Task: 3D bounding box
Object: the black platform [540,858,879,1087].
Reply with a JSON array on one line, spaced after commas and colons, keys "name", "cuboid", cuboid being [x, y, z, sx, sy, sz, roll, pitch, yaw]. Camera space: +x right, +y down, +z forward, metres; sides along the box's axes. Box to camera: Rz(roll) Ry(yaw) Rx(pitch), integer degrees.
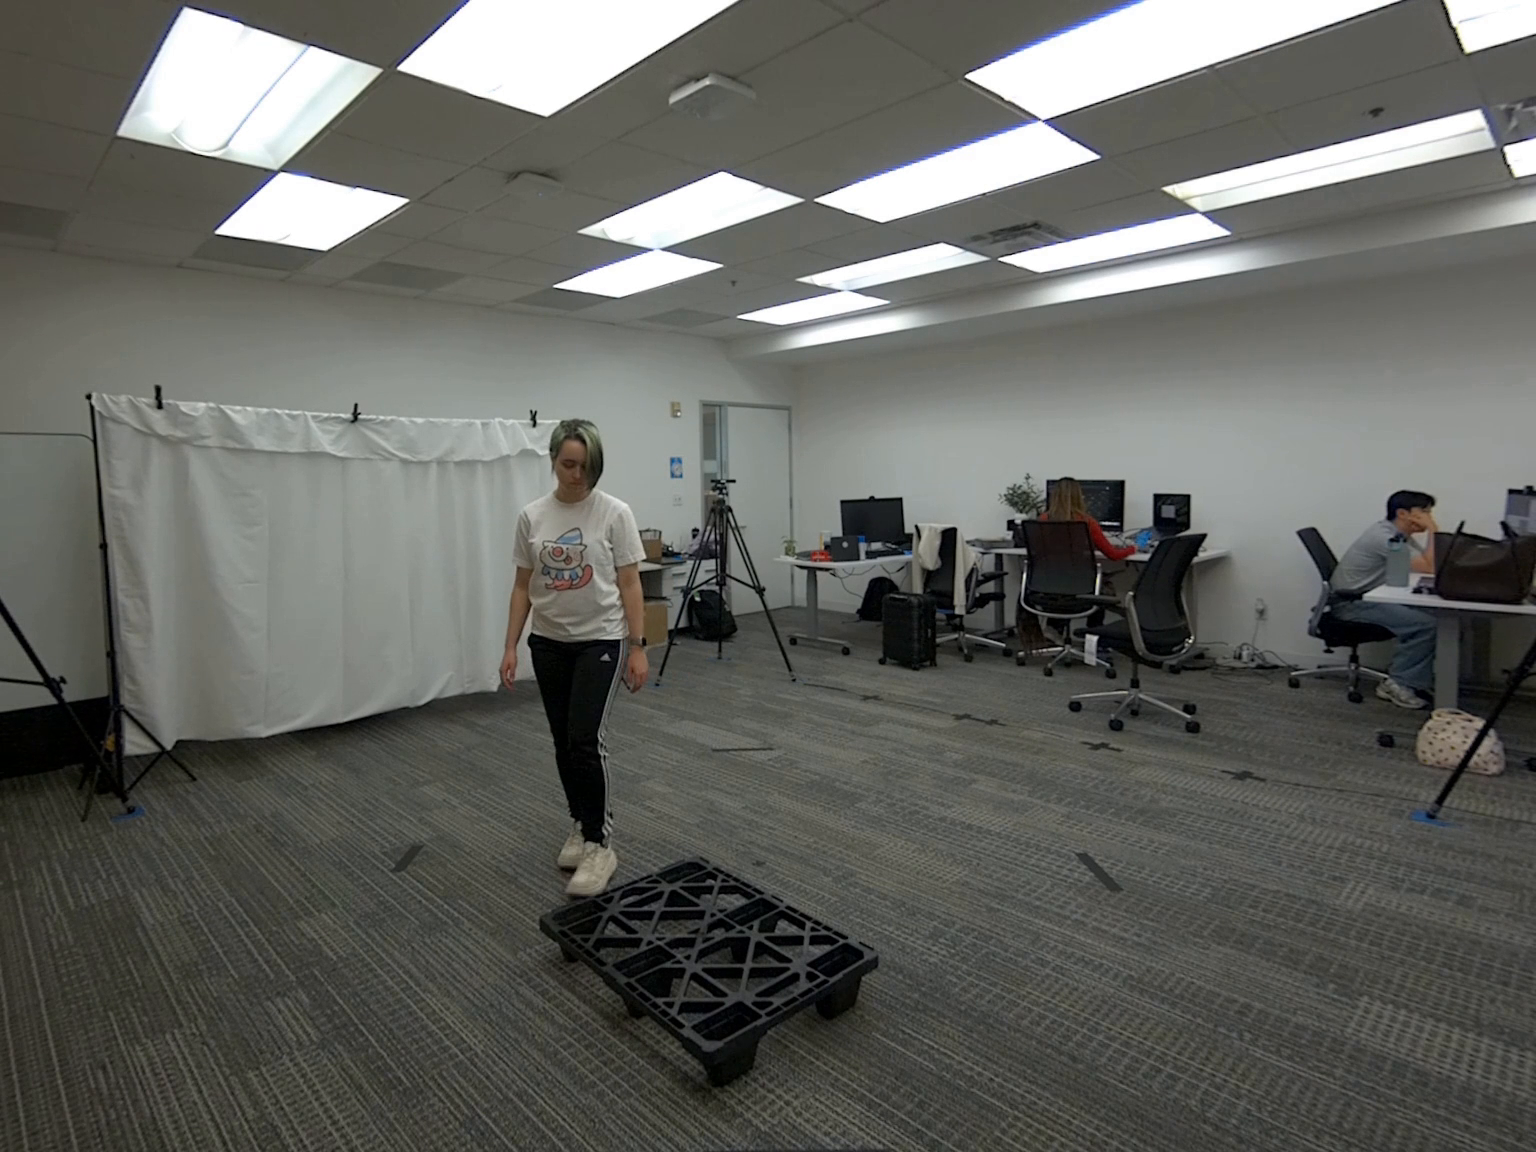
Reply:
[{"name": "black platform", "cuboid": [-0.180, 1.067, 2.397, 0.589, 0.142, 0.831, -6, 8, -41]}]
